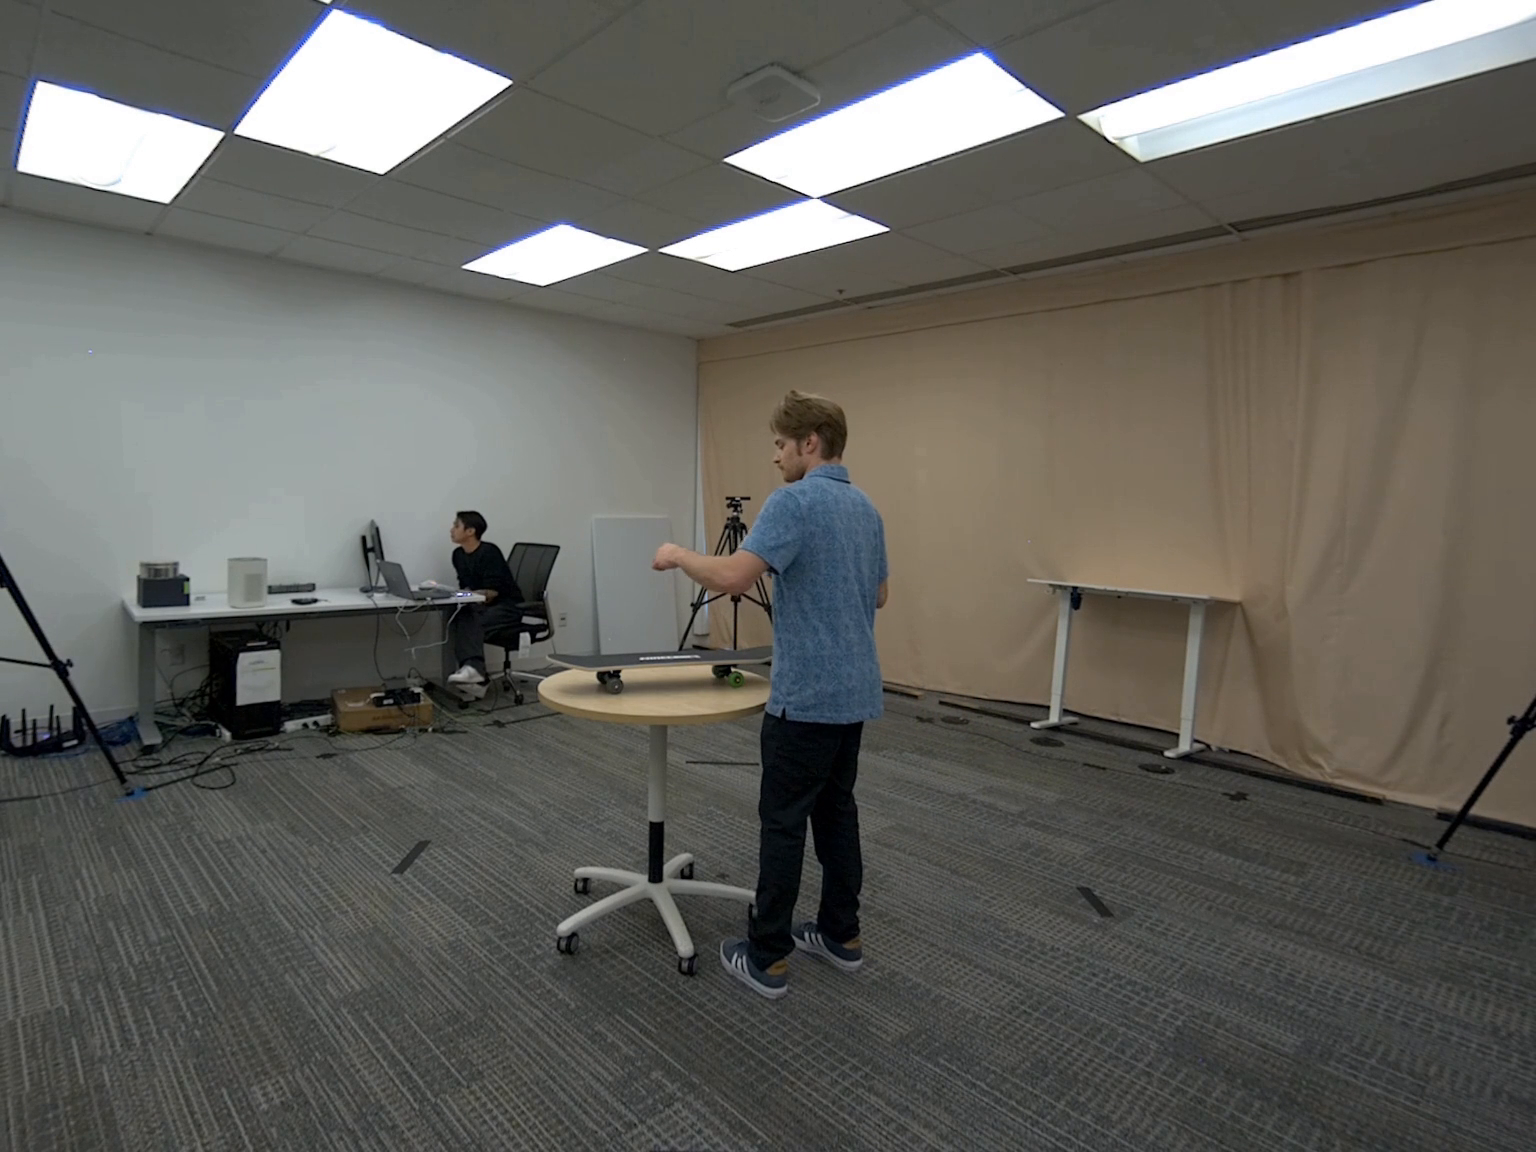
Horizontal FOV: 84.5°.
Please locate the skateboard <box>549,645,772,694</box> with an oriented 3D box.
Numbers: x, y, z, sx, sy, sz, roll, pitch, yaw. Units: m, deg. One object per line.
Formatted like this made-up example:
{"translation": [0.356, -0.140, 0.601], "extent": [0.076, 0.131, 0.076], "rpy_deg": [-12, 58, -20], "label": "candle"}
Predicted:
{"translation": [-0.318, 0.304, 2.708], "extent": [0.773, 0.110, 0.197], "rpy_deg": [0, 6, -20], "label": "skateboard"}
